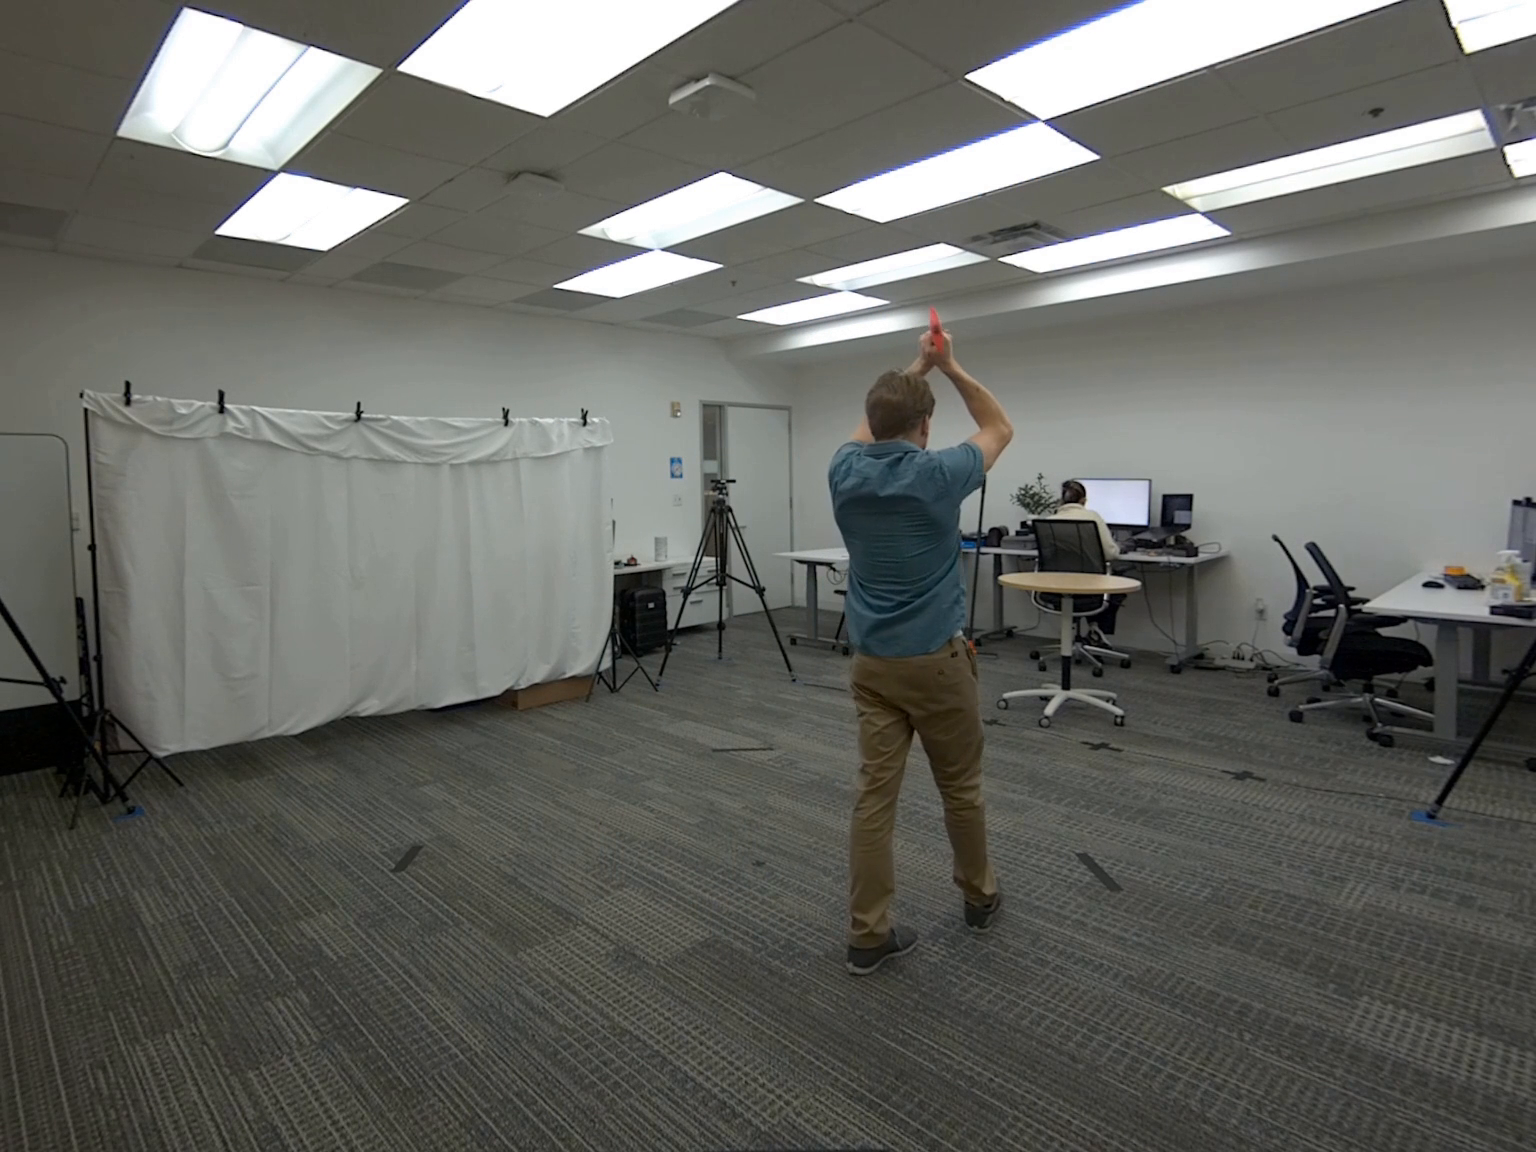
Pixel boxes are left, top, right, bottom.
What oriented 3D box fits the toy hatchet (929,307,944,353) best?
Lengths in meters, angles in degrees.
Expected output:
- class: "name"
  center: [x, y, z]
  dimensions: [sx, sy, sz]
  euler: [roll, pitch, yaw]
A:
- class: "toy hatchet"
  center: [0.483, -0.717, 2.458]
  dimensions: [0.030, 0.128, 0.273]
  euler: [-10, 20, 11]
